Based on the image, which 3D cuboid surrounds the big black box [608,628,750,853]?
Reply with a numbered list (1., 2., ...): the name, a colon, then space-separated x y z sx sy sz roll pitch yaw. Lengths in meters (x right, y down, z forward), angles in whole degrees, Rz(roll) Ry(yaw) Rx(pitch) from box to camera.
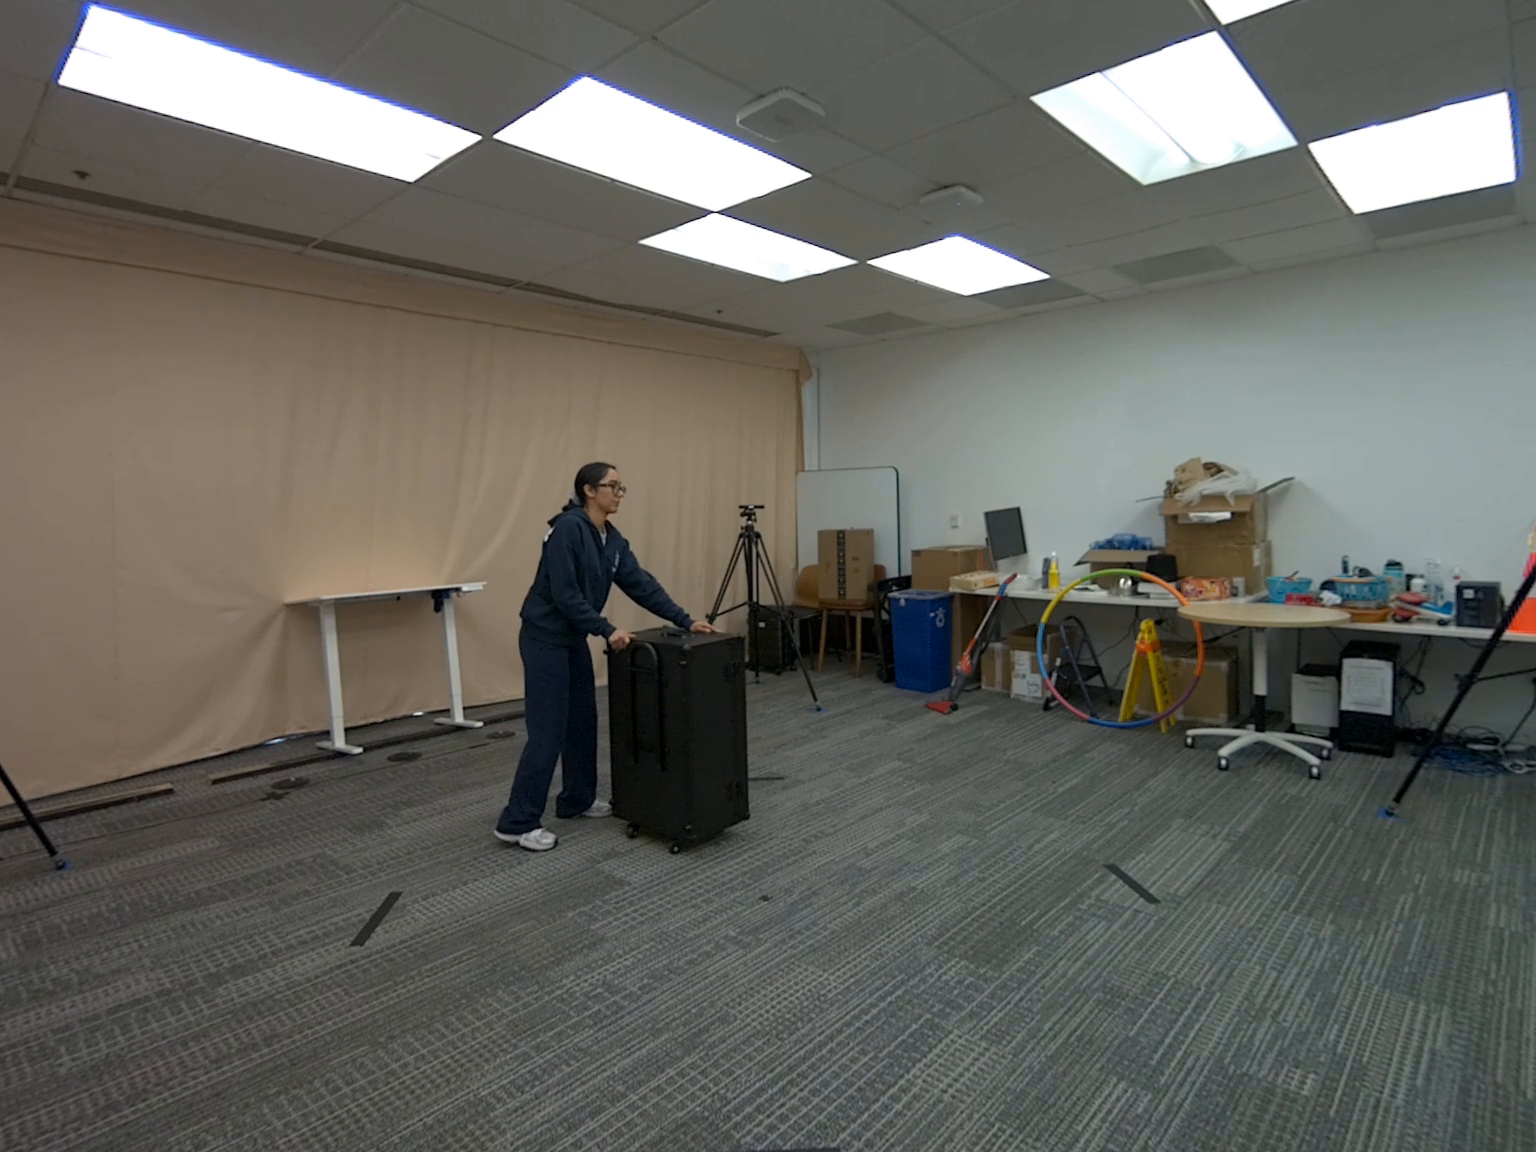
1. big black box: -0.379 0.678 3.560 0.538 0.859 0.384 2 5 40
